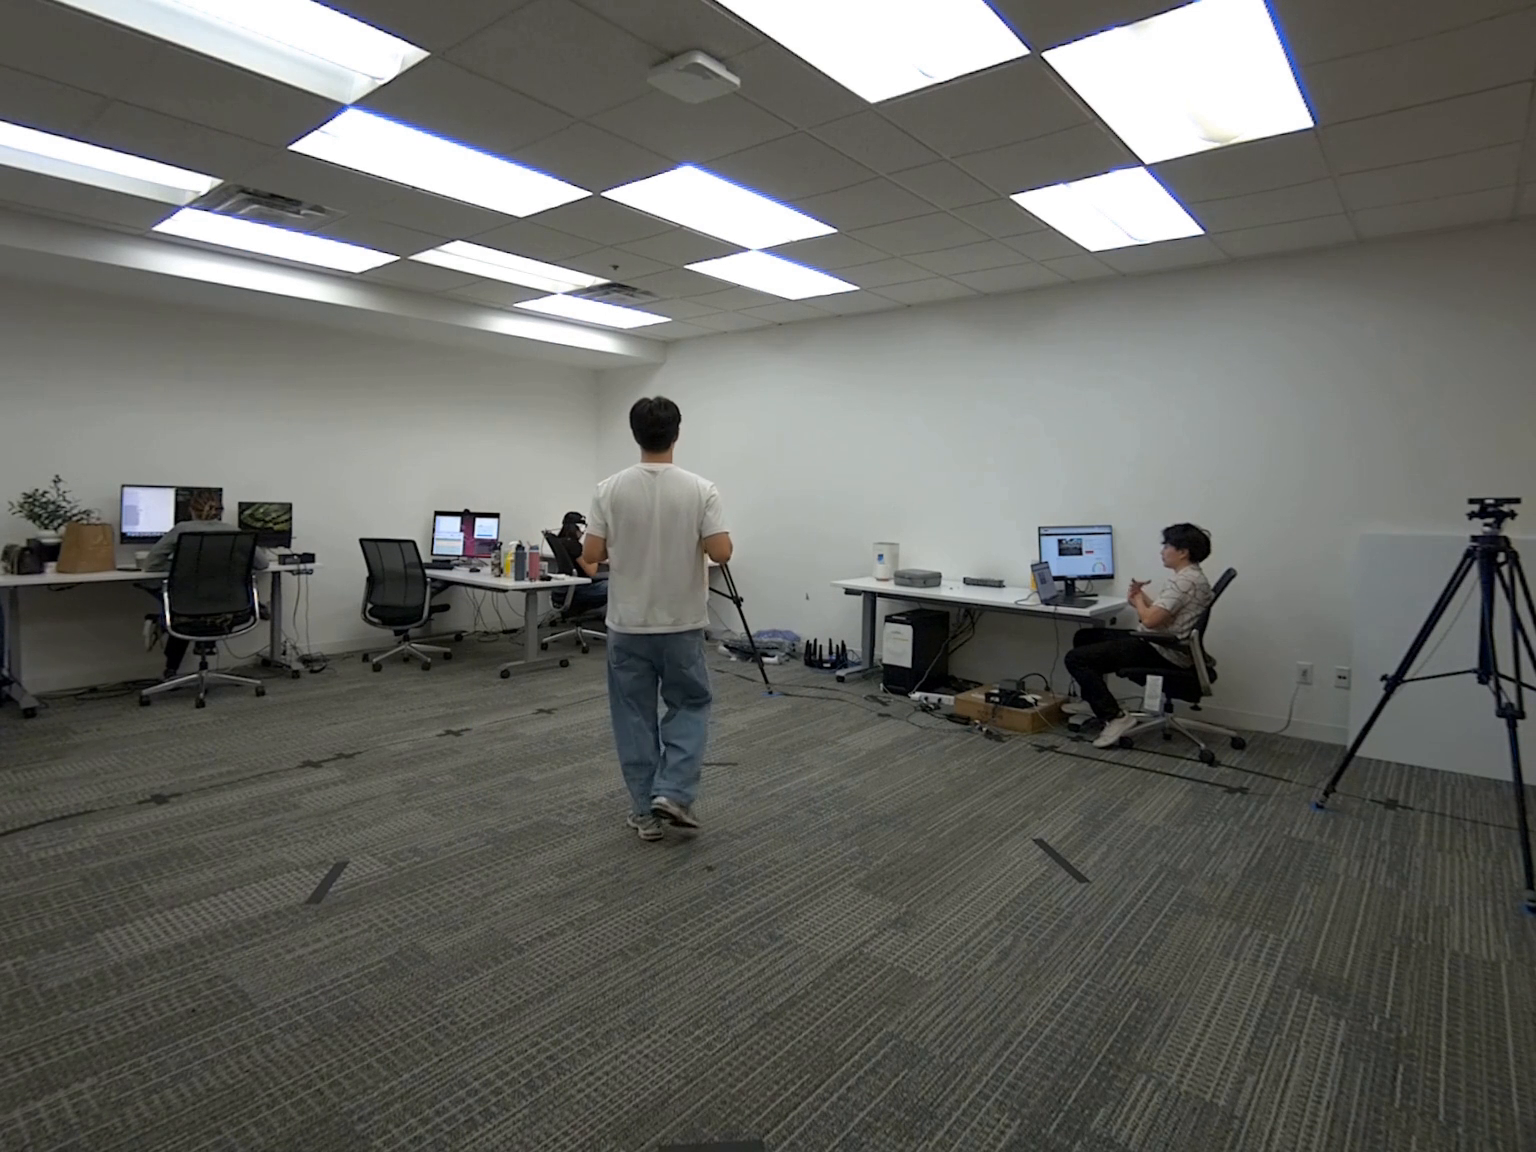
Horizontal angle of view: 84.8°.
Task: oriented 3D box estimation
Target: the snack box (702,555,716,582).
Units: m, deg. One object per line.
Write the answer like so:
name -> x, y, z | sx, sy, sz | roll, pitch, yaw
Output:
snack box -> -0.444, -0.090, 3.634 | 0.341, 0.402, 0.207 | -1, 8, 3
